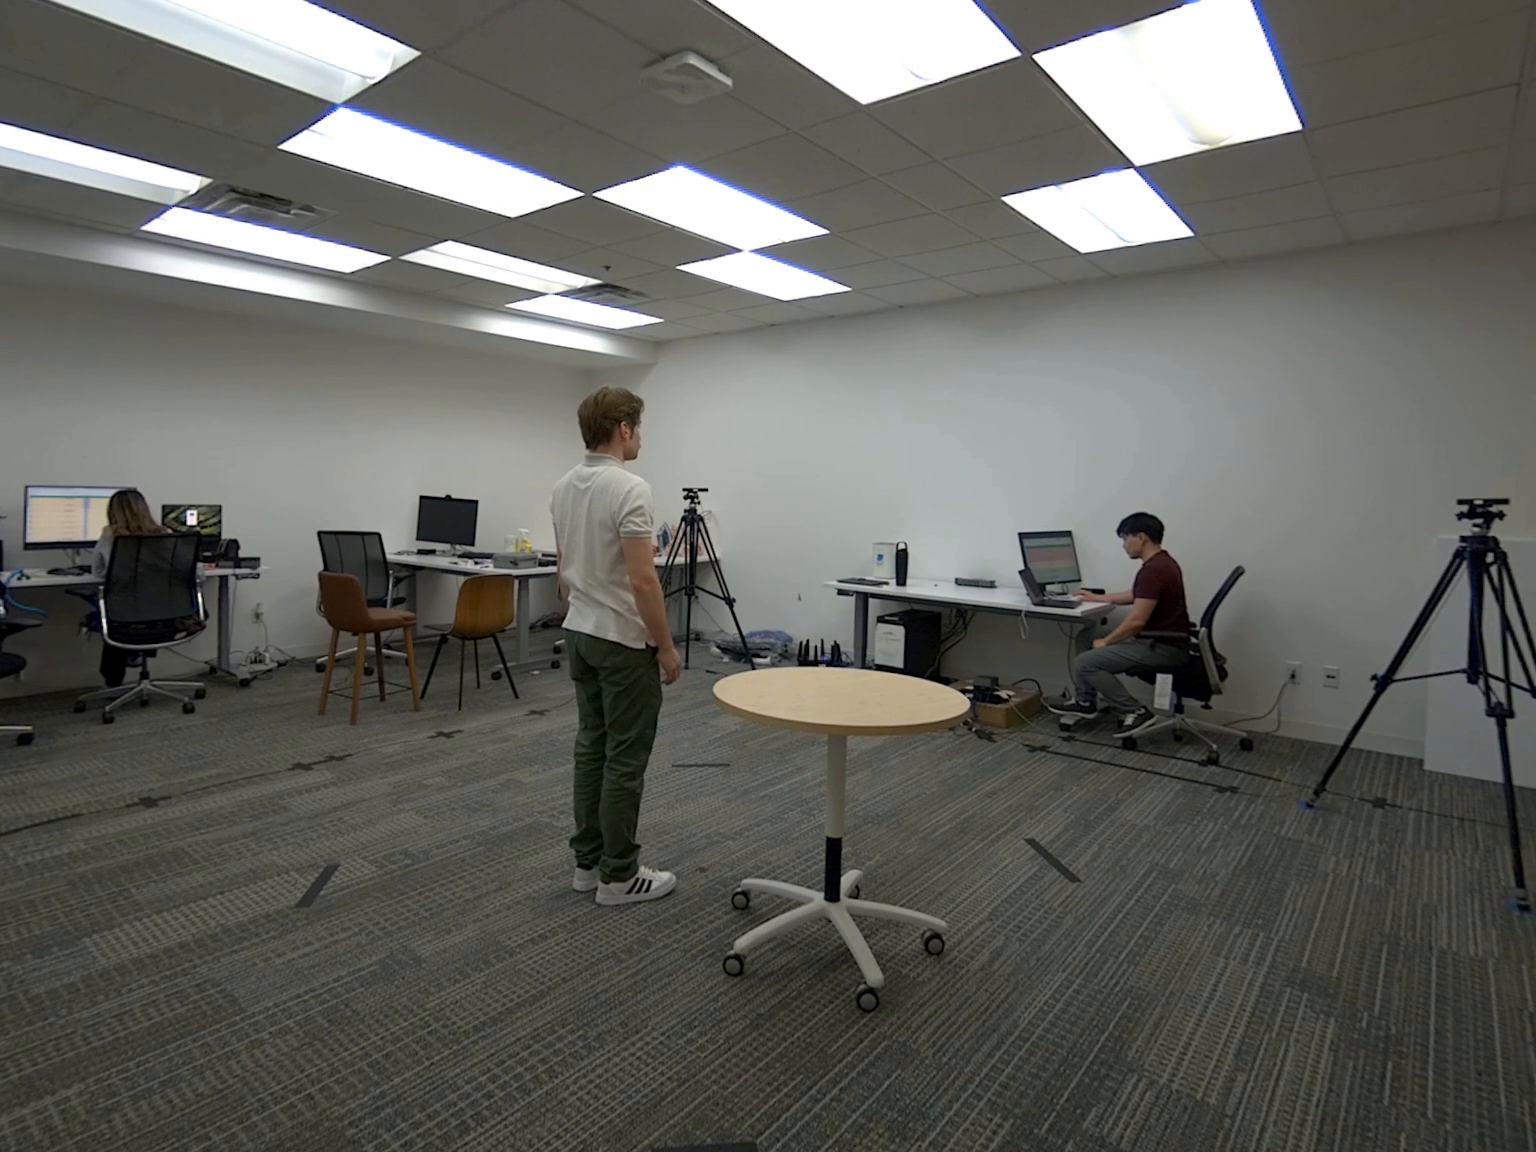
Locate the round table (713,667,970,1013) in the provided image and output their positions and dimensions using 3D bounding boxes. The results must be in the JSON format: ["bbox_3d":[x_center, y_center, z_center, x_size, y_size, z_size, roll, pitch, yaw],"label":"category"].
[{"bbox_3d":[0.195,0.743,2.595,0.763,0.792,0.768,2,4,-2],"label":"round table"}]
